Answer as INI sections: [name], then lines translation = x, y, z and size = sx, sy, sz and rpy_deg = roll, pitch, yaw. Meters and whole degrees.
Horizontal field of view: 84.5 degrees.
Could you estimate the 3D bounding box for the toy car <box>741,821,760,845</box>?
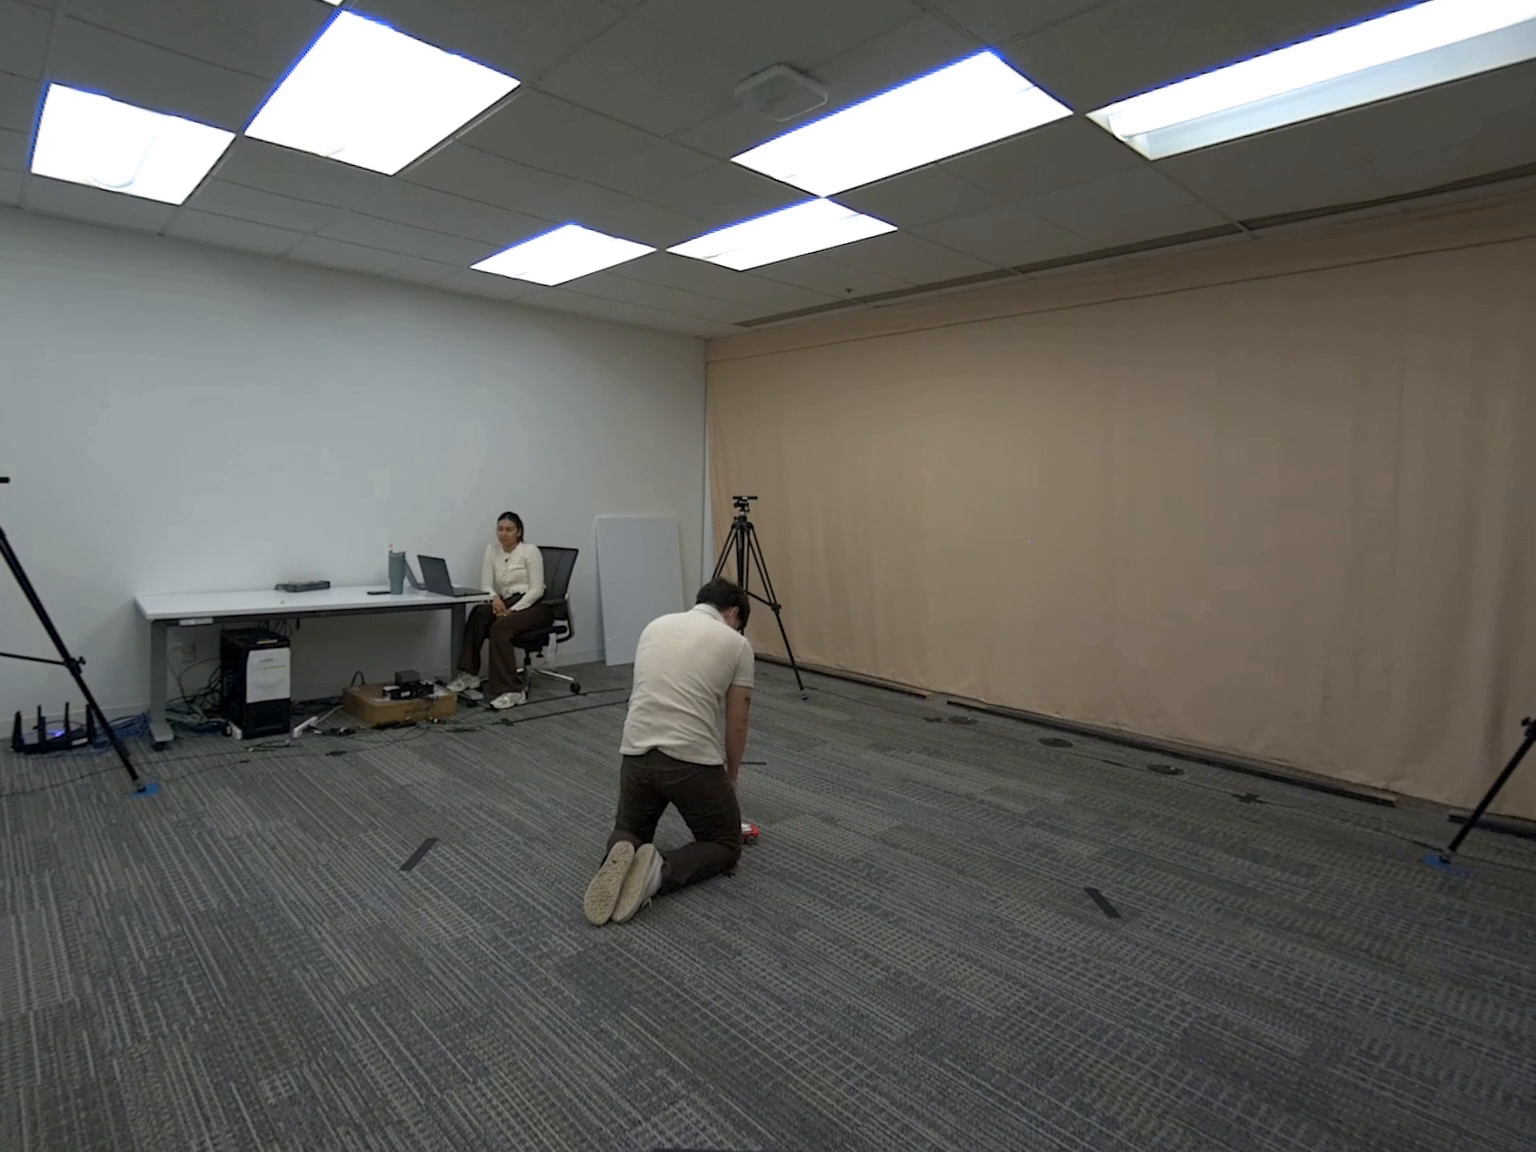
[toy car]
translation = -0.176, 1.048, 3.422
size = 0.253, 0.083, 0.131
rpy_deg = 12, 2, -8
